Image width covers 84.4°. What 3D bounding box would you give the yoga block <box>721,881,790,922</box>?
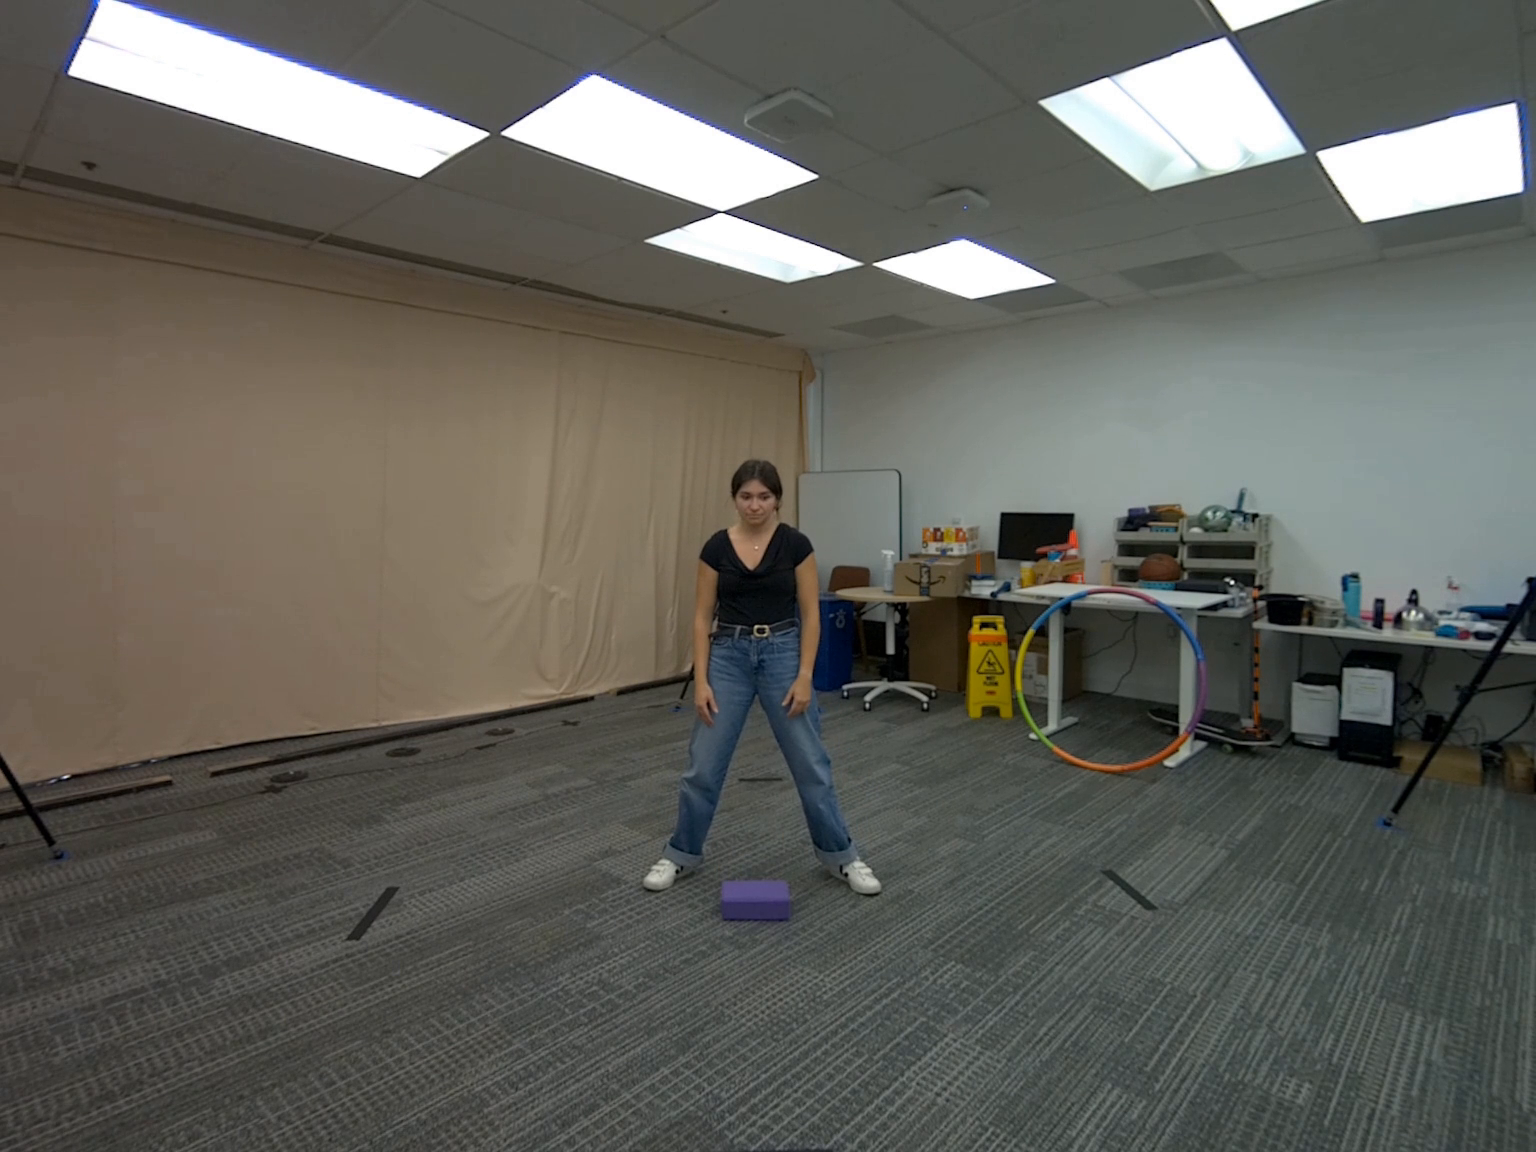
[{"bbox_3d":[-0.036,1.113,2.889,0.229,0.076,0.149,-1,5,0],"label":"yoga block"}]
